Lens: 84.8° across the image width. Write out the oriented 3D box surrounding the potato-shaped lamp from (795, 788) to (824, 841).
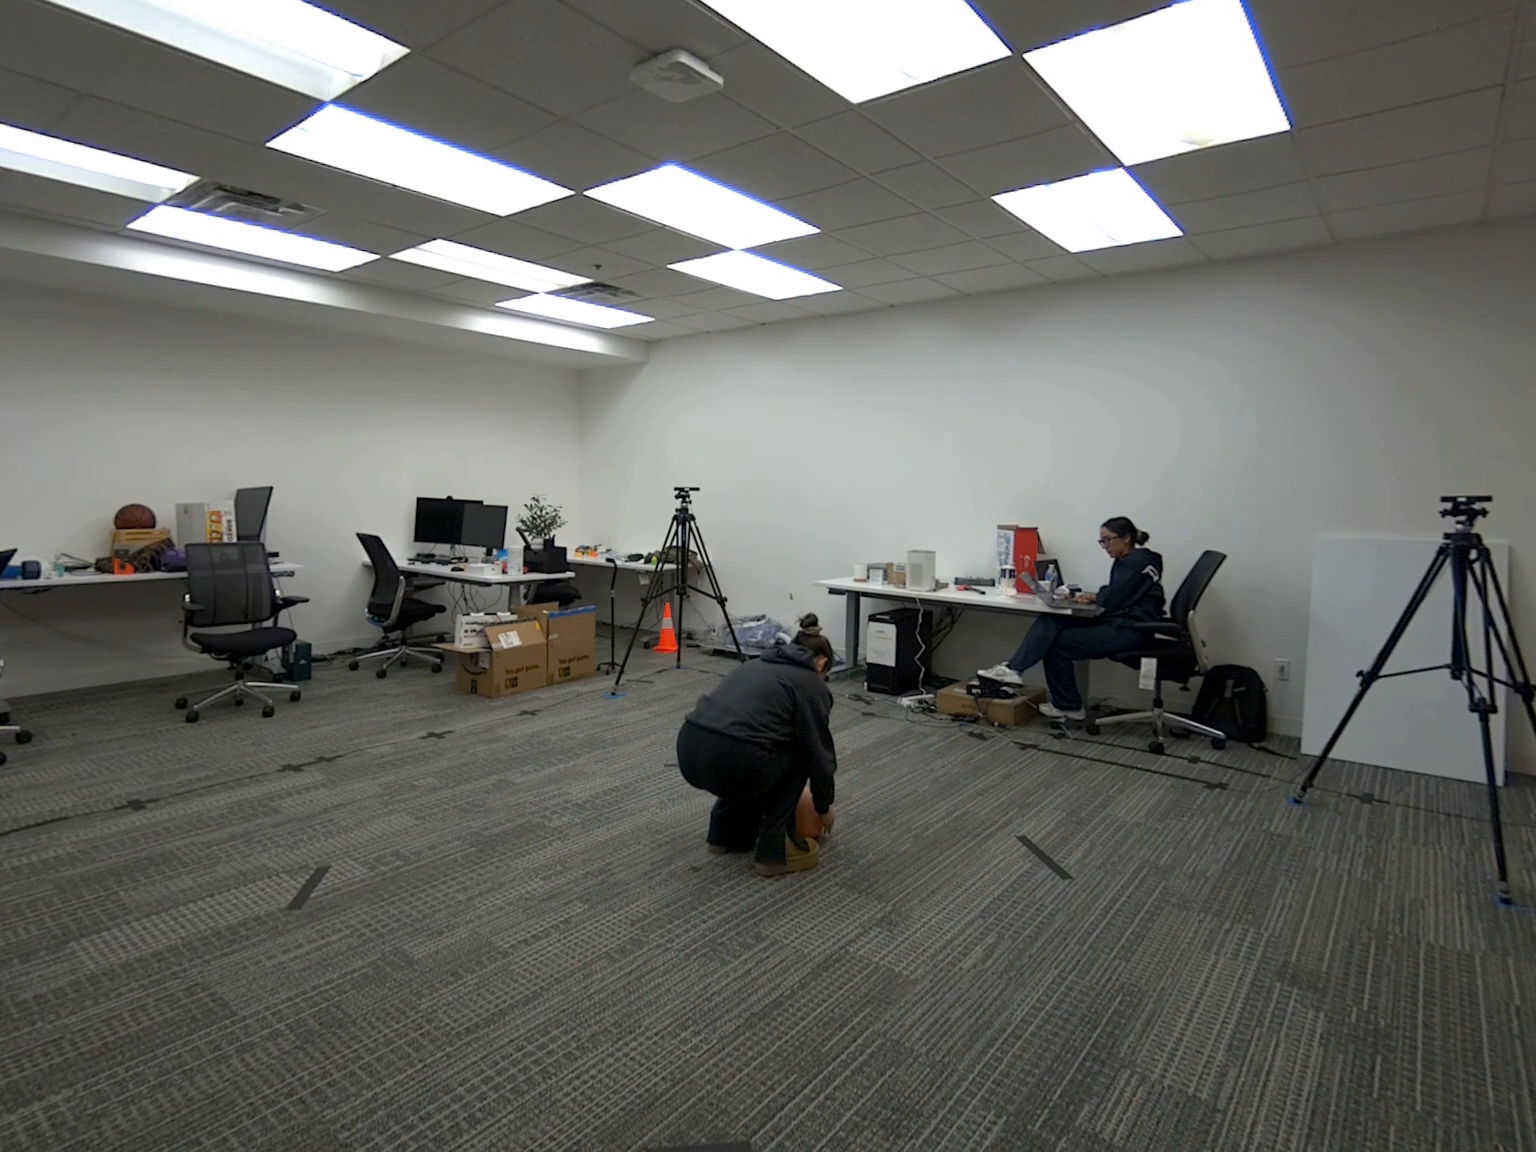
[{"bbox_3d":[0.141,0.941,3.414,0.169,0.197,0.167,3,7,30],"label":"potato-shaped lamp"}]
